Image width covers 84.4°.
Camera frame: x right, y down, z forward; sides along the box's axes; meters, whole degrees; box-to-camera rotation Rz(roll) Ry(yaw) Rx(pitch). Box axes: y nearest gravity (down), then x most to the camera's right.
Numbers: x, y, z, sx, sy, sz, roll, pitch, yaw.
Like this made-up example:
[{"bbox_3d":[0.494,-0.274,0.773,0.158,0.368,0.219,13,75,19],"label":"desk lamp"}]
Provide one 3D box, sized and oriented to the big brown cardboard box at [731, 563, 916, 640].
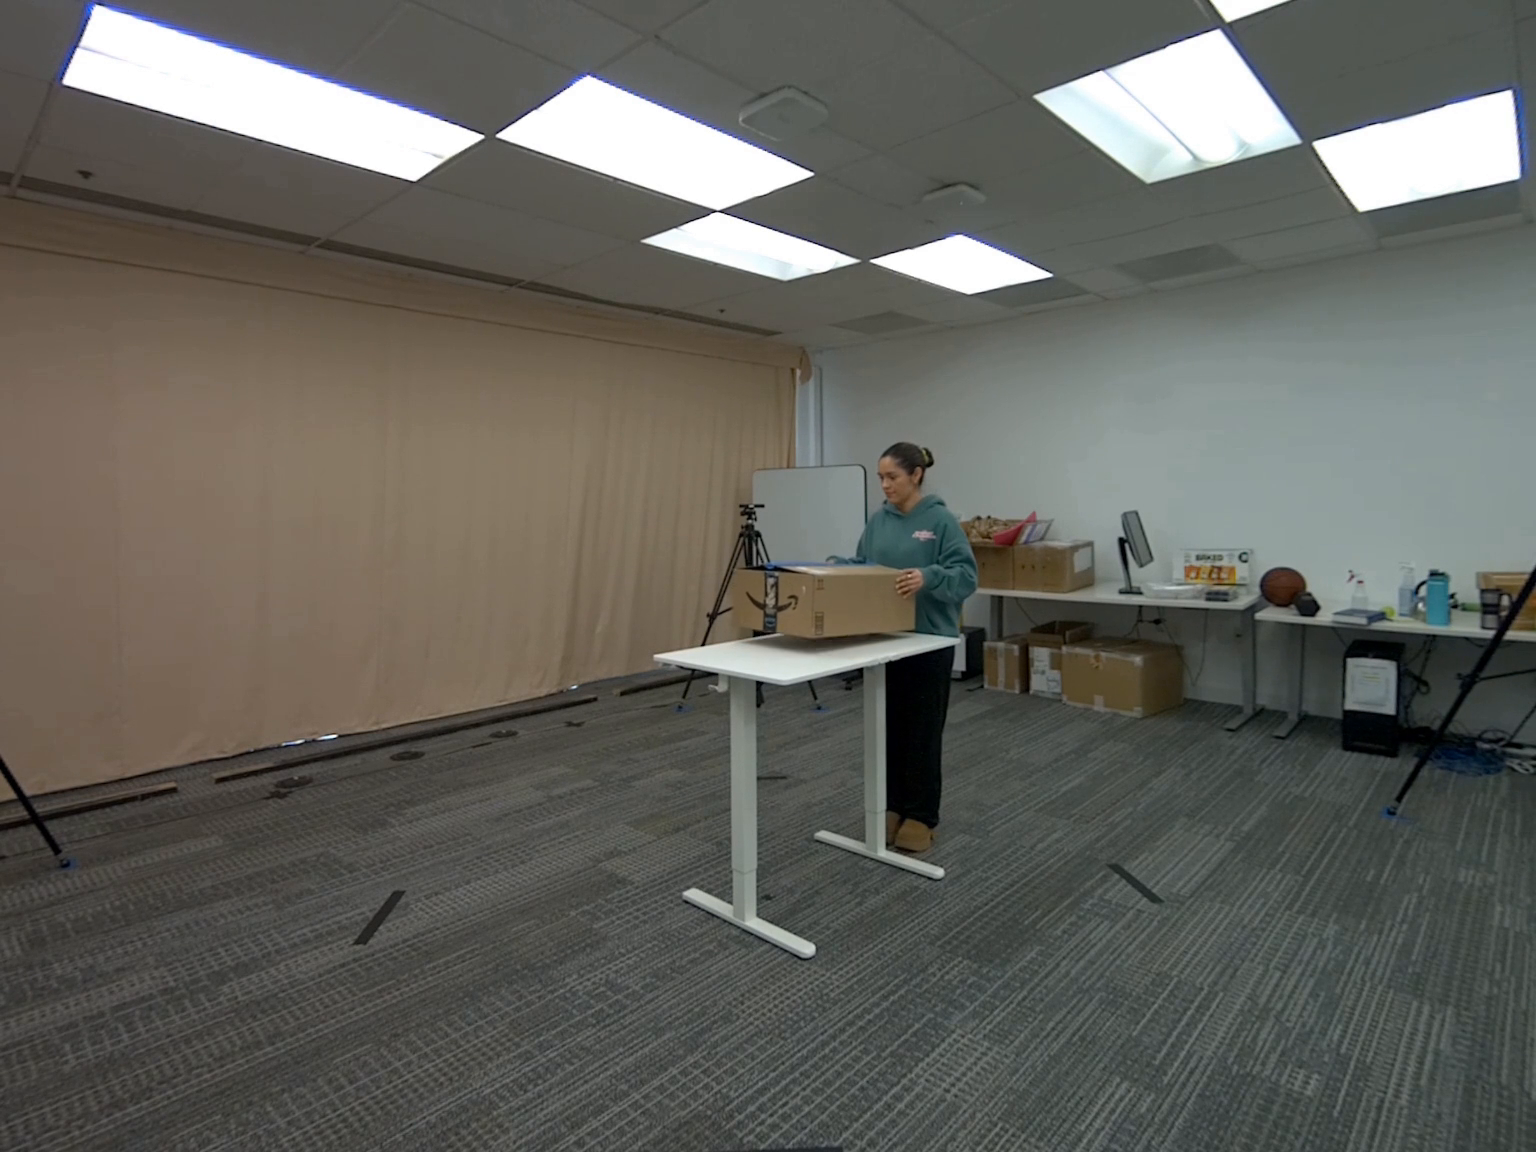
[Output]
[{"bbox_3d":[0.205,0.087,3.144,0.570,0.233,0.431,1,2,-42],"label":"big brown cardboard box"}]
